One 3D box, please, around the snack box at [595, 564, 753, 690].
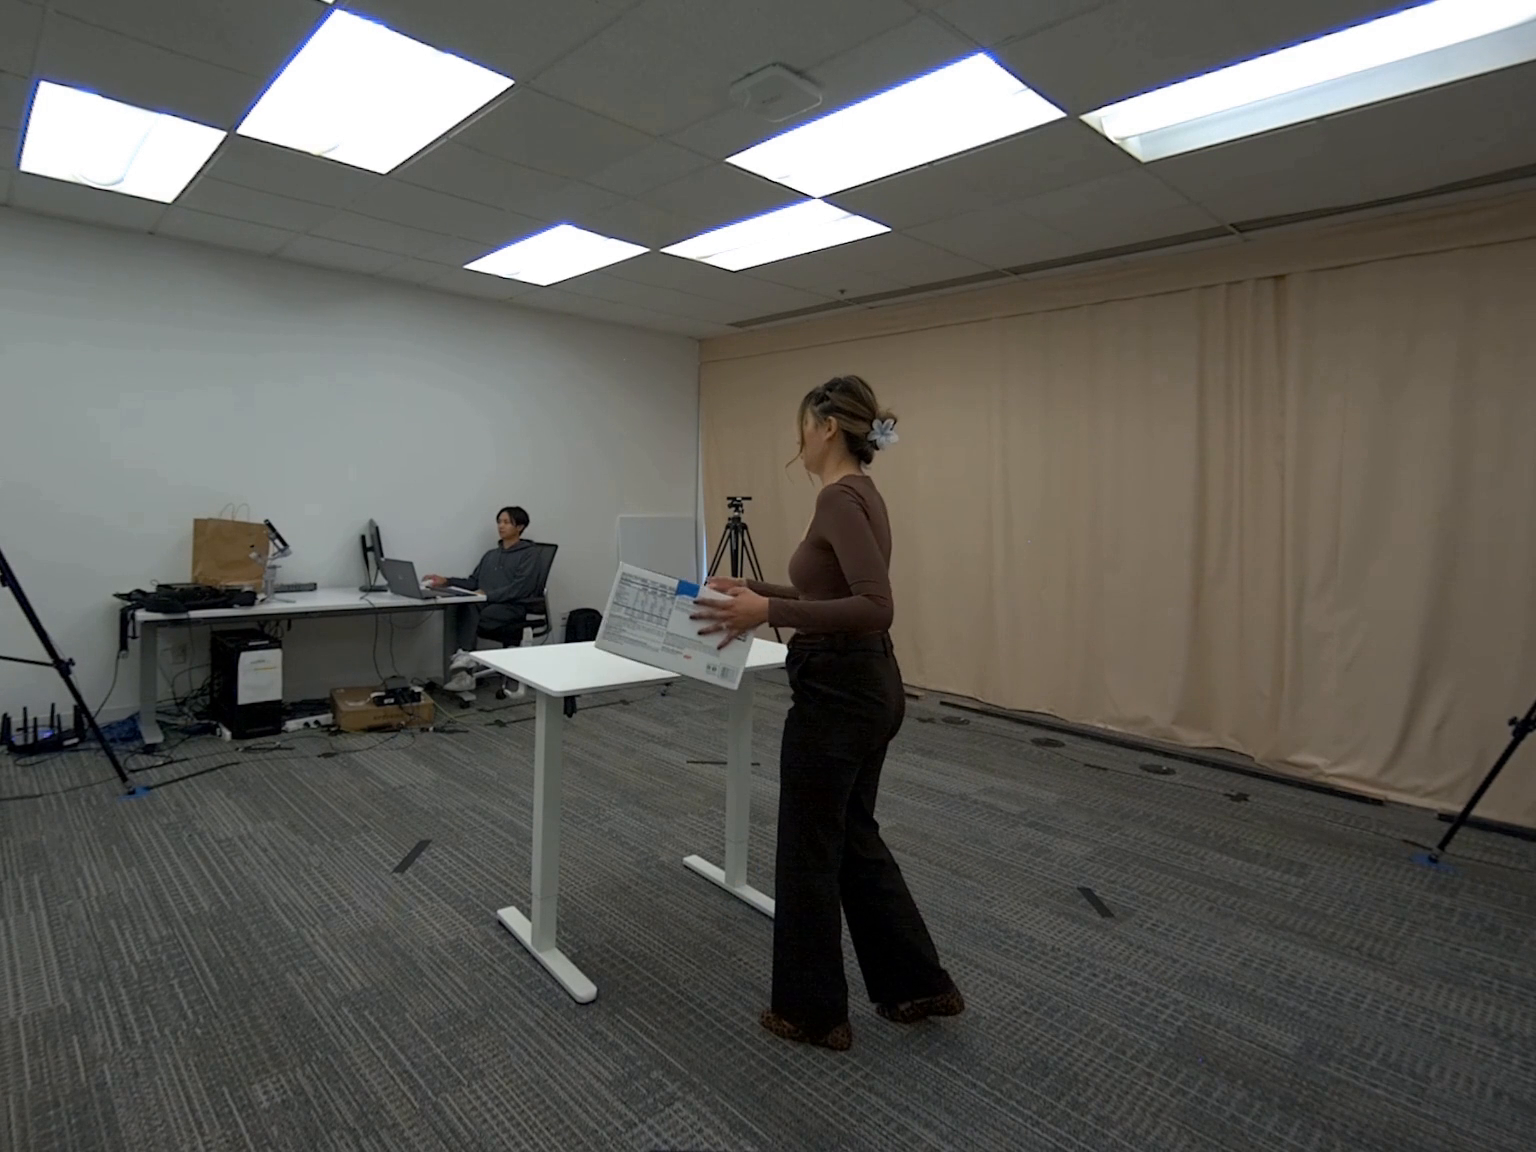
[{"bbox_3d":[-0.220,0.123,2.101,0.339,0.206,0.406,17,-2,-5],"label":"snack box"}]
